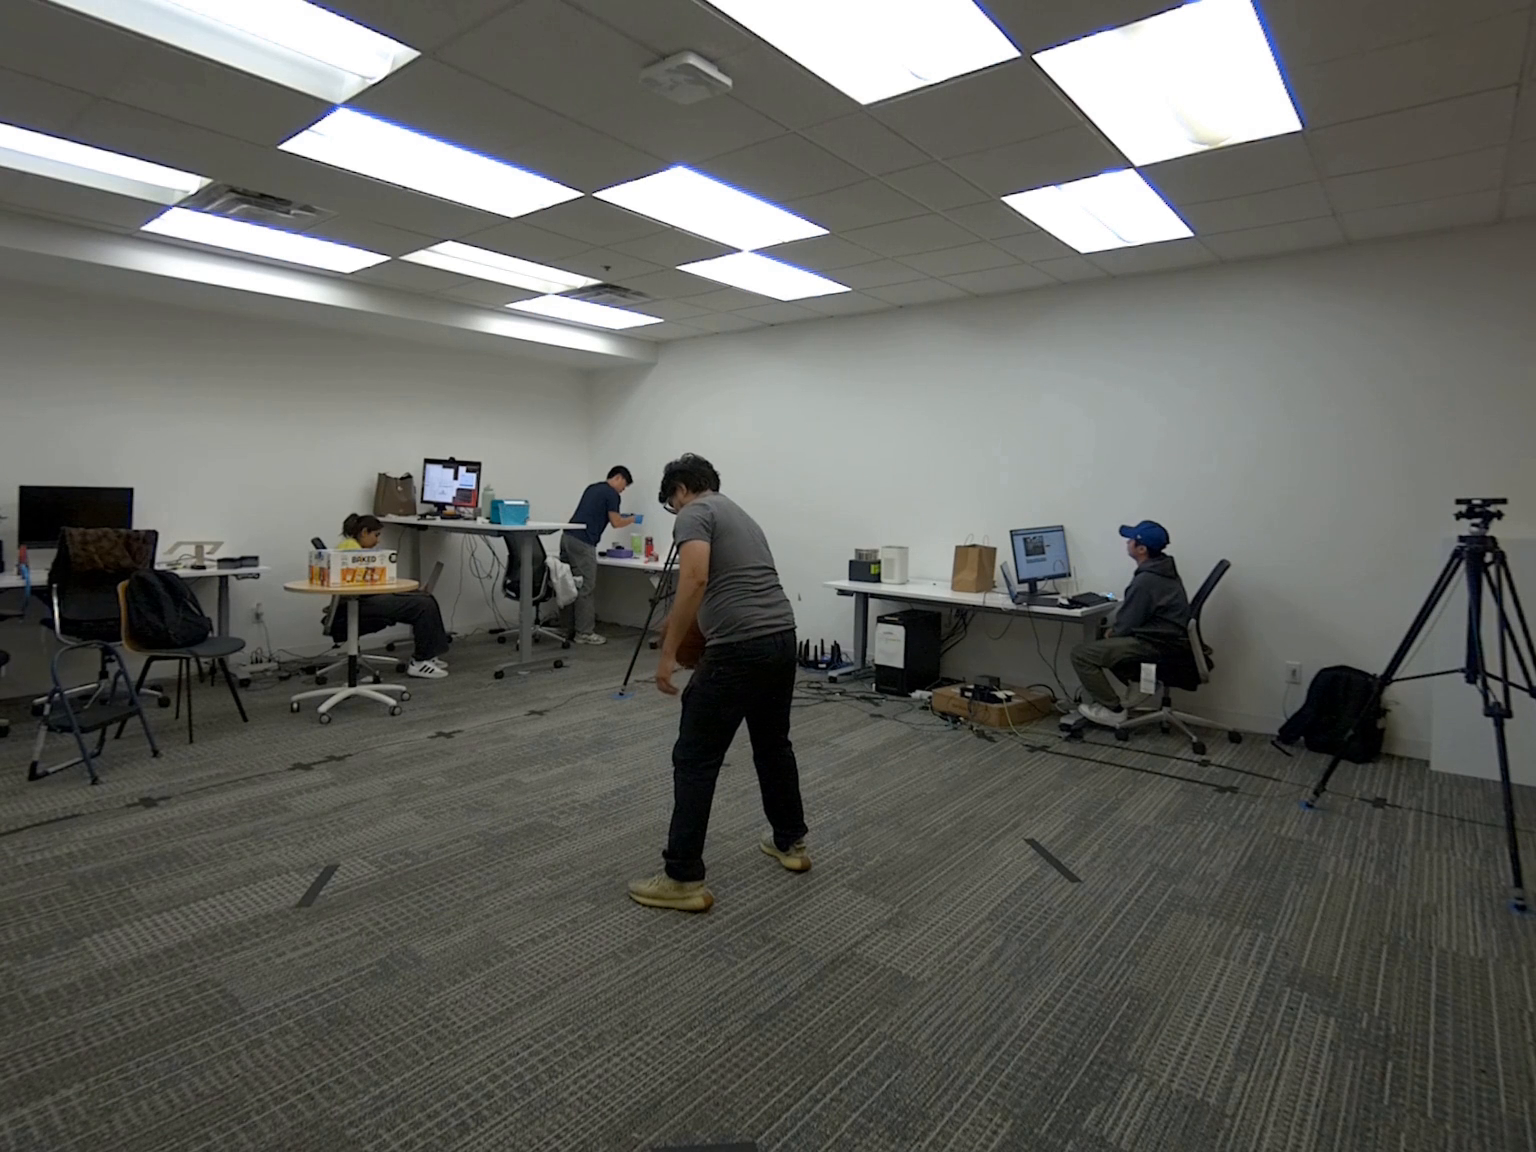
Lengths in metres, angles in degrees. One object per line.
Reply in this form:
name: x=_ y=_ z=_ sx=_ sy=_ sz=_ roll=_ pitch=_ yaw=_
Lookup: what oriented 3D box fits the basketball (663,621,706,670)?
basketball: x=-0.313 y=0.233 z=3.345 sx=0.235 sy=0.235 sz=0.237 roll=1 pitch=4 yaw=-2
